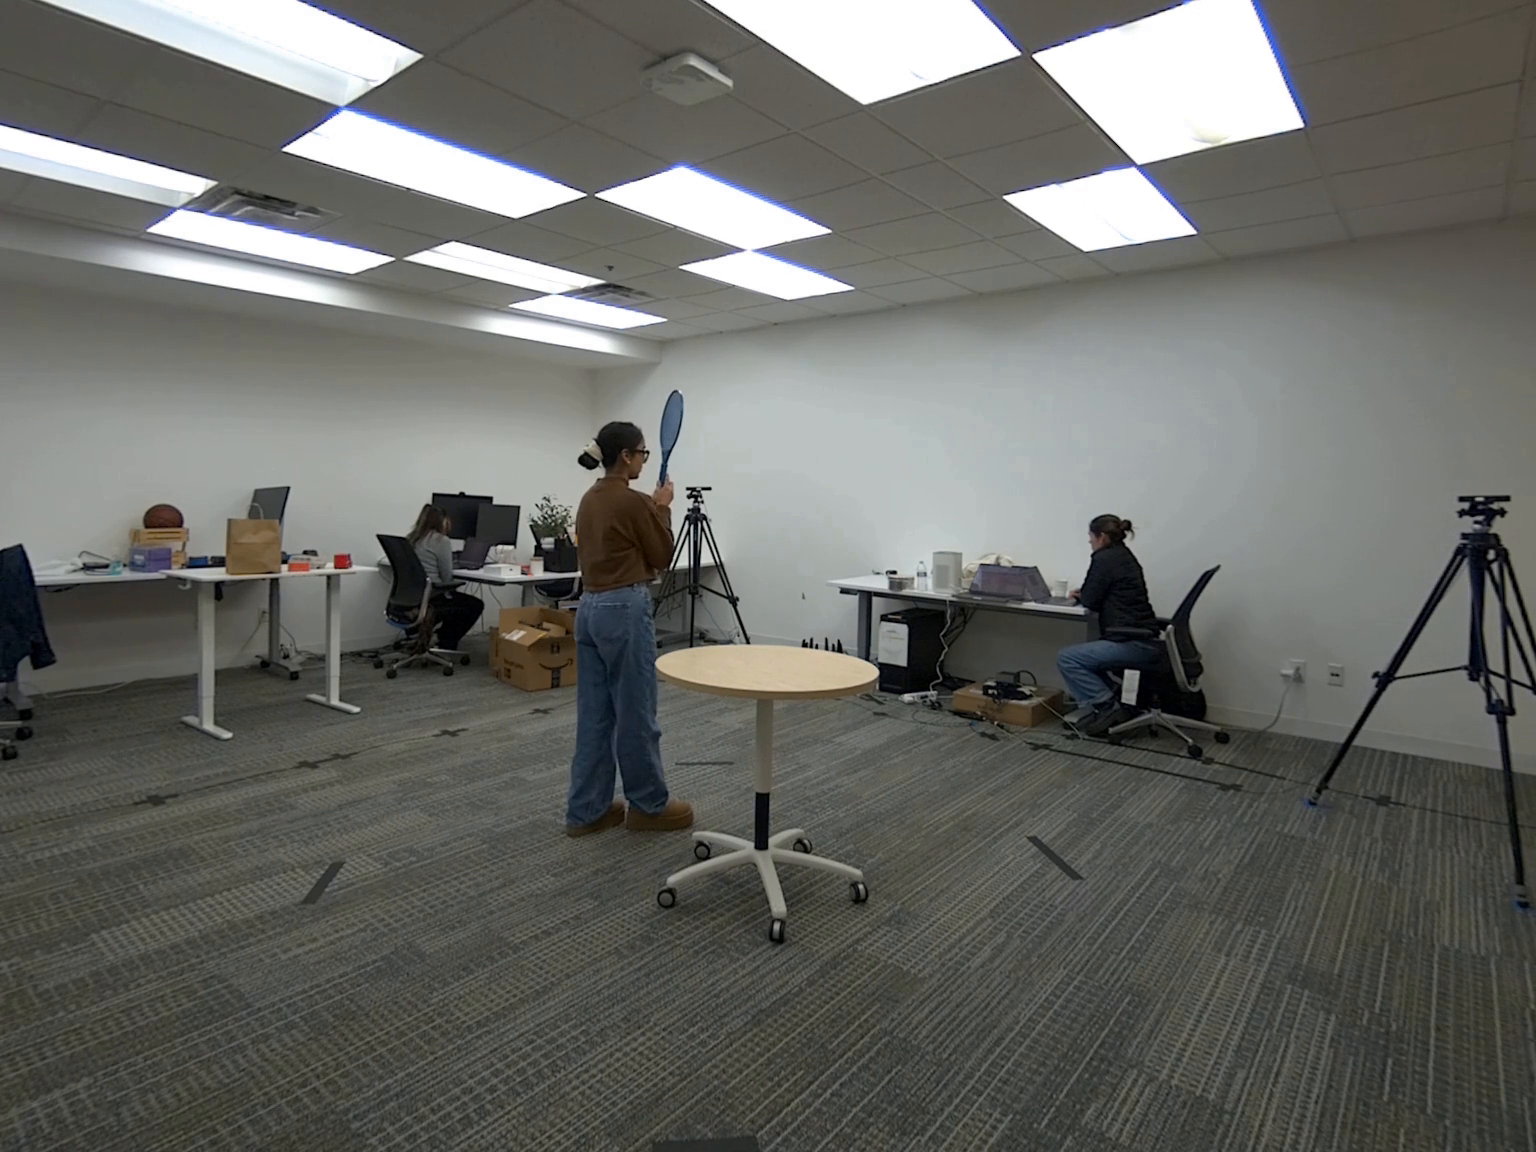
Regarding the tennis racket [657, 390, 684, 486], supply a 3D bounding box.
[{"bbox_3d":[-0.427,-0.568,3.550,0.031,0.433,0.219,7,0,-28],"label":"tennis racket"}]
